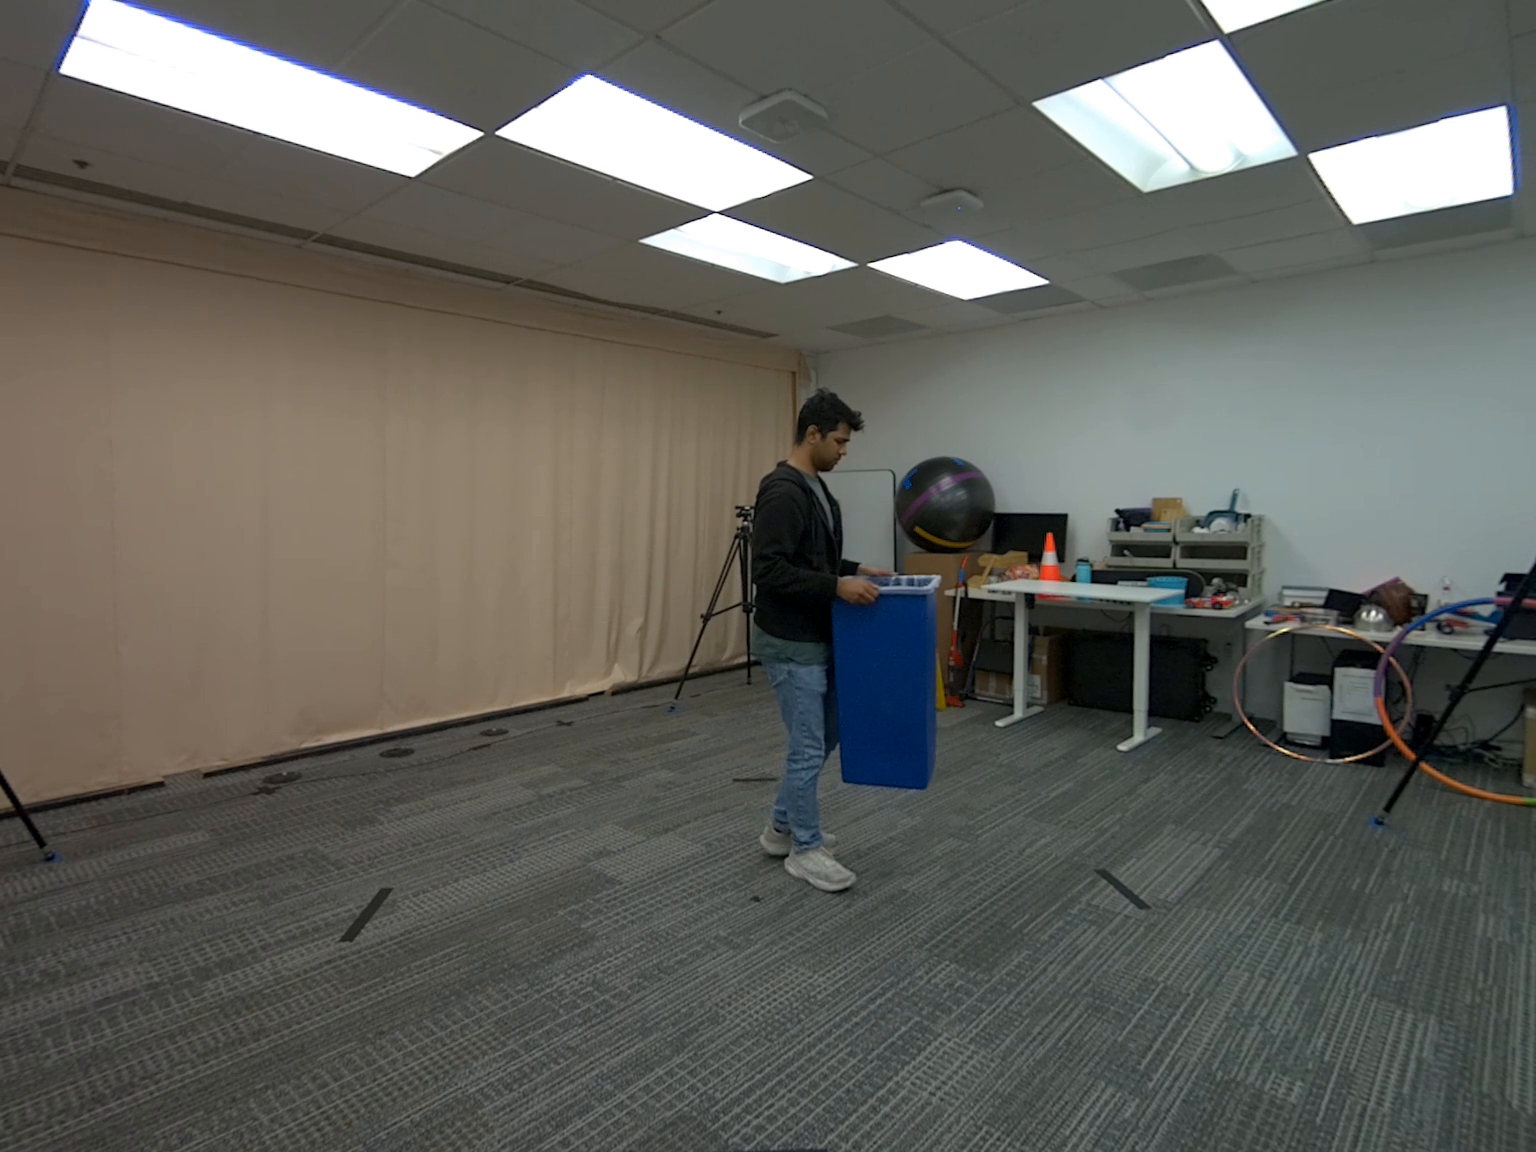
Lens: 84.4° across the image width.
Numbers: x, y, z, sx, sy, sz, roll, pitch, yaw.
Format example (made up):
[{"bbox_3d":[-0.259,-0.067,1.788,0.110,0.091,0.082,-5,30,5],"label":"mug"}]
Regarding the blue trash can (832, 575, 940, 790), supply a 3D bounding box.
[{"bbox_3d":[0.442,0.377,3.078,0.385,0.712,0.368,-1,4,18],"label":"blue trash can"}]
